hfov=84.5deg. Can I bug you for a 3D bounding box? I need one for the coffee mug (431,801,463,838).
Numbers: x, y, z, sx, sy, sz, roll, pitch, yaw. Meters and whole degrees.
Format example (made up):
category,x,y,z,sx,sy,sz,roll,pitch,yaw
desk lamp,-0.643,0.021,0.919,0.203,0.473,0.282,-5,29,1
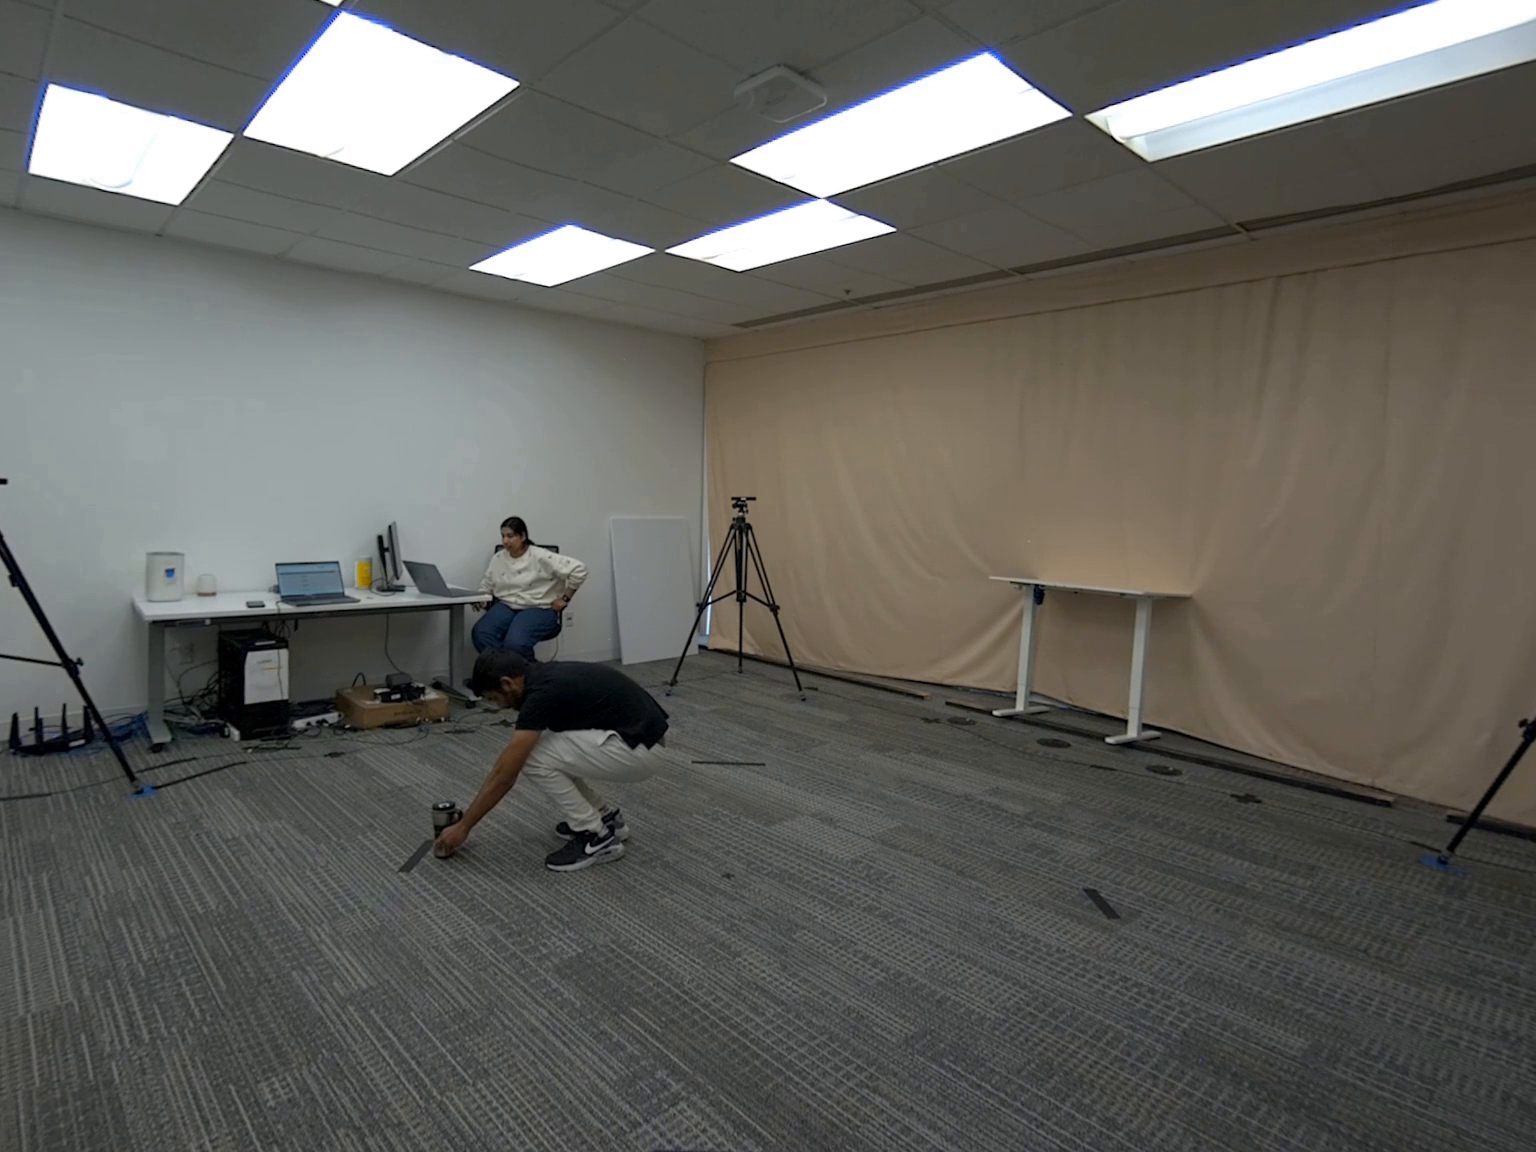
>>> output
category,x,y,z,sx,sy,sz,roll,pitch,yaw
coffee mug,-1.224,0.966,3.207,0.124,0.203,0.086,-5,-2,29
